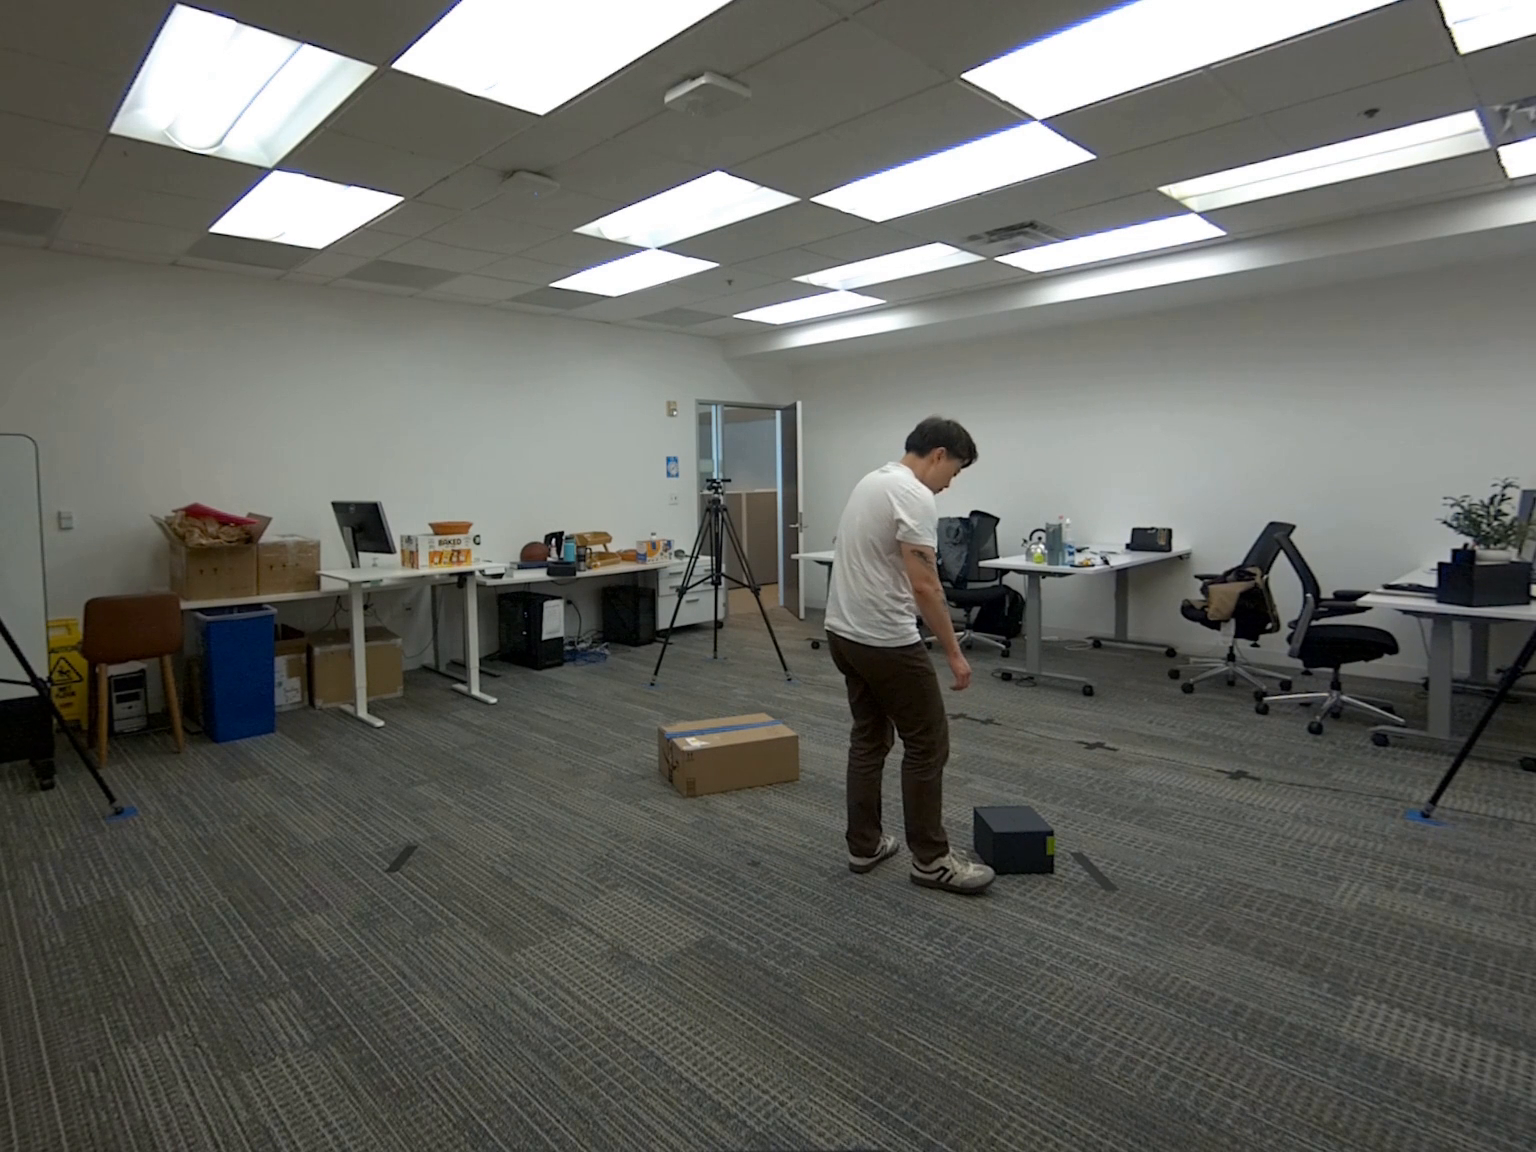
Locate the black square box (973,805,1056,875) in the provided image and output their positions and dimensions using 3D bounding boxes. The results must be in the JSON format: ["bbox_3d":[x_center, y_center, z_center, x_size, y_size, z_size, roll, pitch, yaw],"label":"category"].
[{"bbox_3d":[0.890,0.947,3.086,0.216,0.155,0.229,-1,5,-3],"label":"black square box"}]
